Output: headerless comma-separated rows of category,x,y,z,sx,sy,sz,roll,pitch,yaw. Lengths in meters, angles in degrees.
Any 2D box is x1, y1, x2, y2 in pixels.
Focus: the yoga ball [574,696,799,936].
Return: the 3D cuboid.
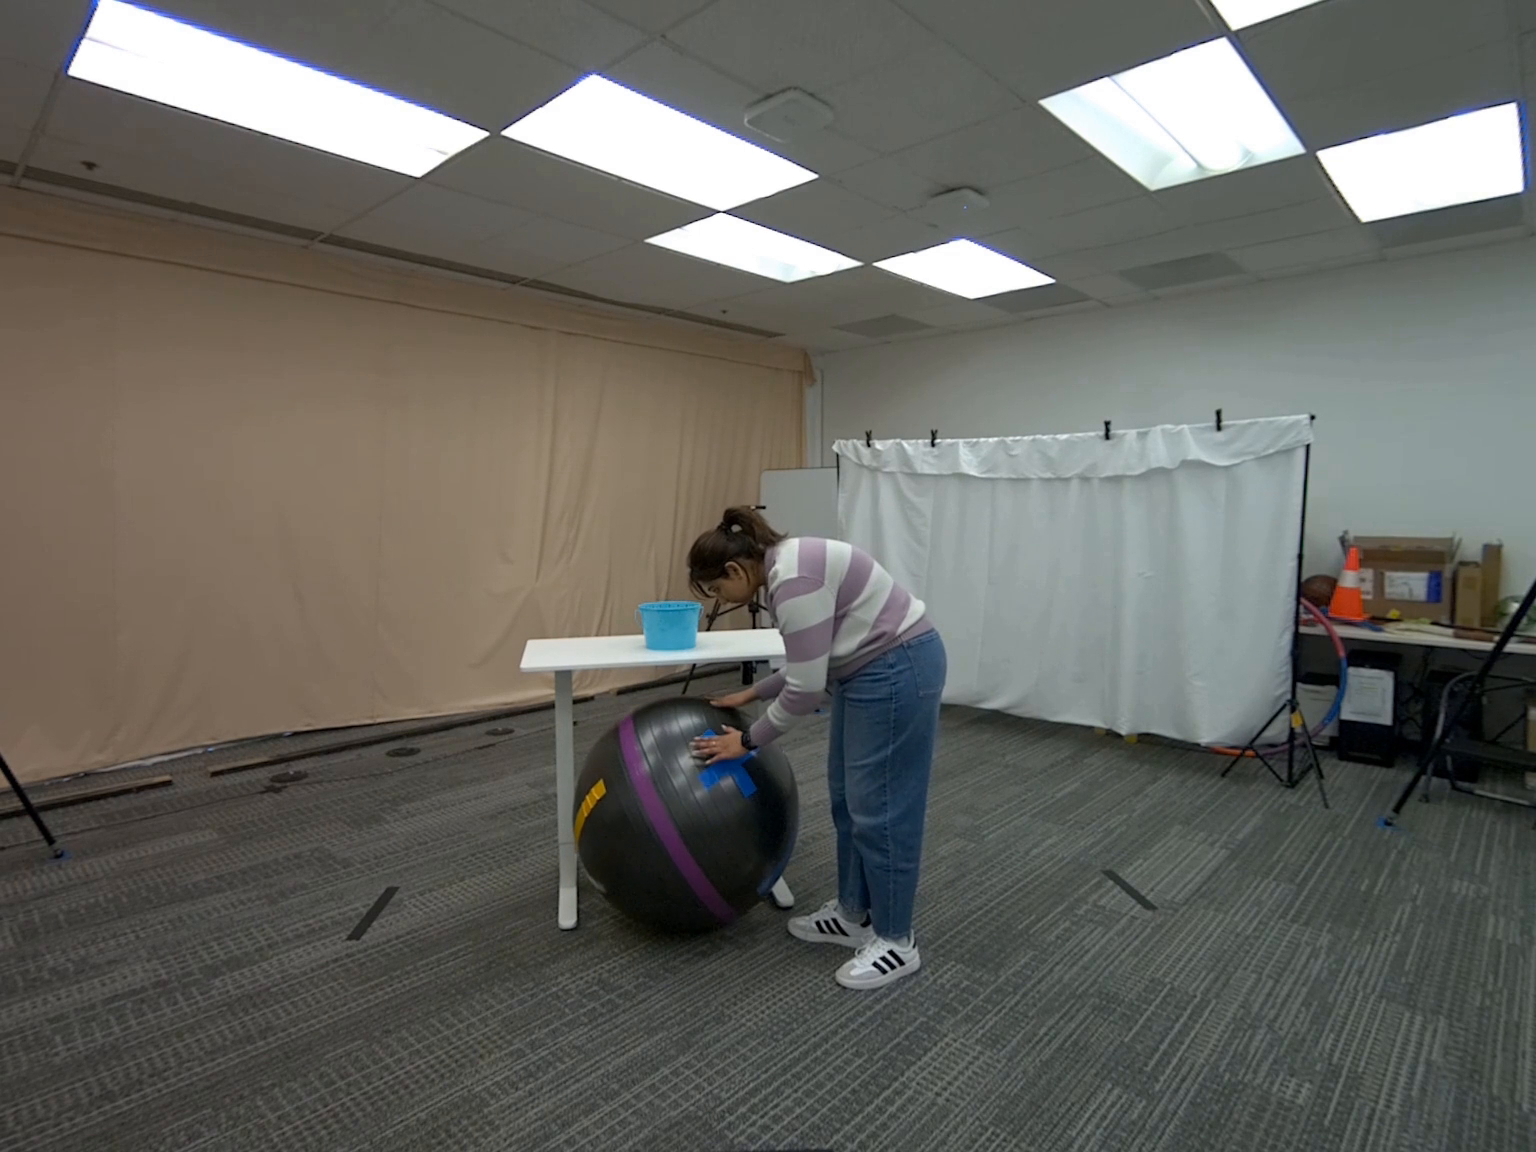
yoga ball,-0.275,0.793,2.827,0.757,0.756,0.760,0,4,-2
